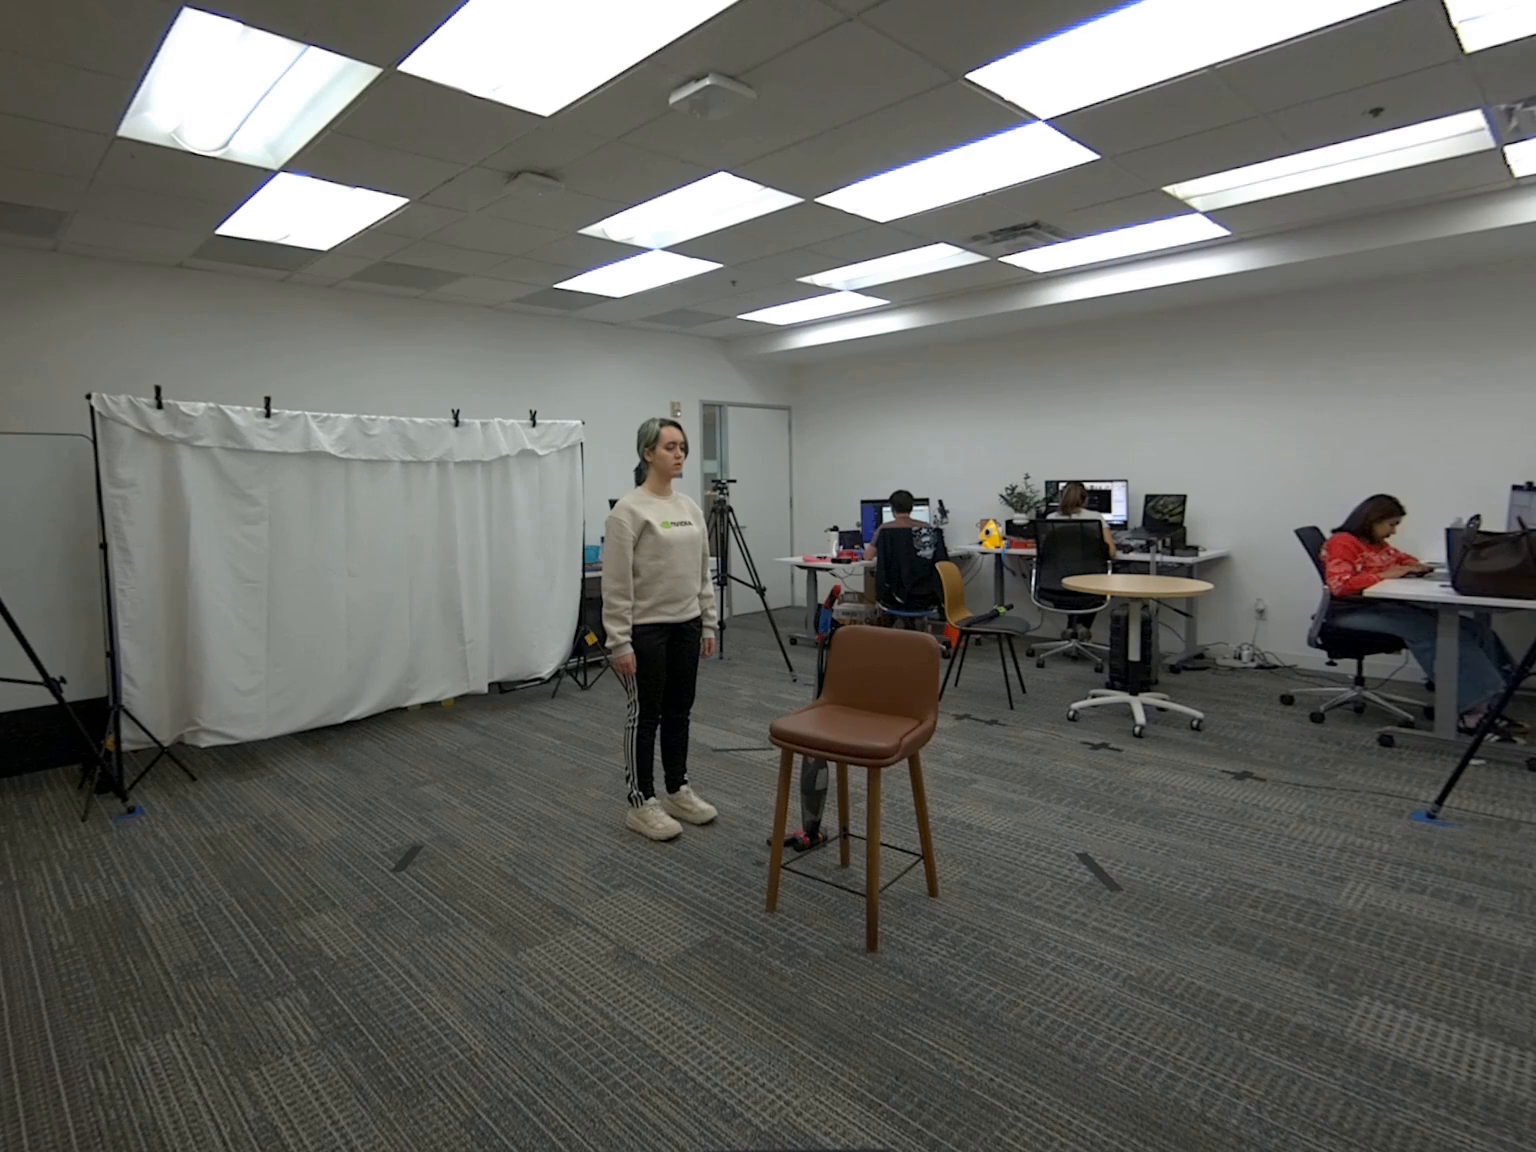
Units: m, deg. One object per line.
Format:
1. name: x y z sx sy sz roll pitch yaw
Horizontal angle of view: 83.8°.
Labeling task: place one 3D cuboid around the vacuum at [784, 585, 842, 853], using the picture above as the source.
1. vacuum: 0.196 0.535 3.142 0.246 1.036 0.149 -2 18 -30
